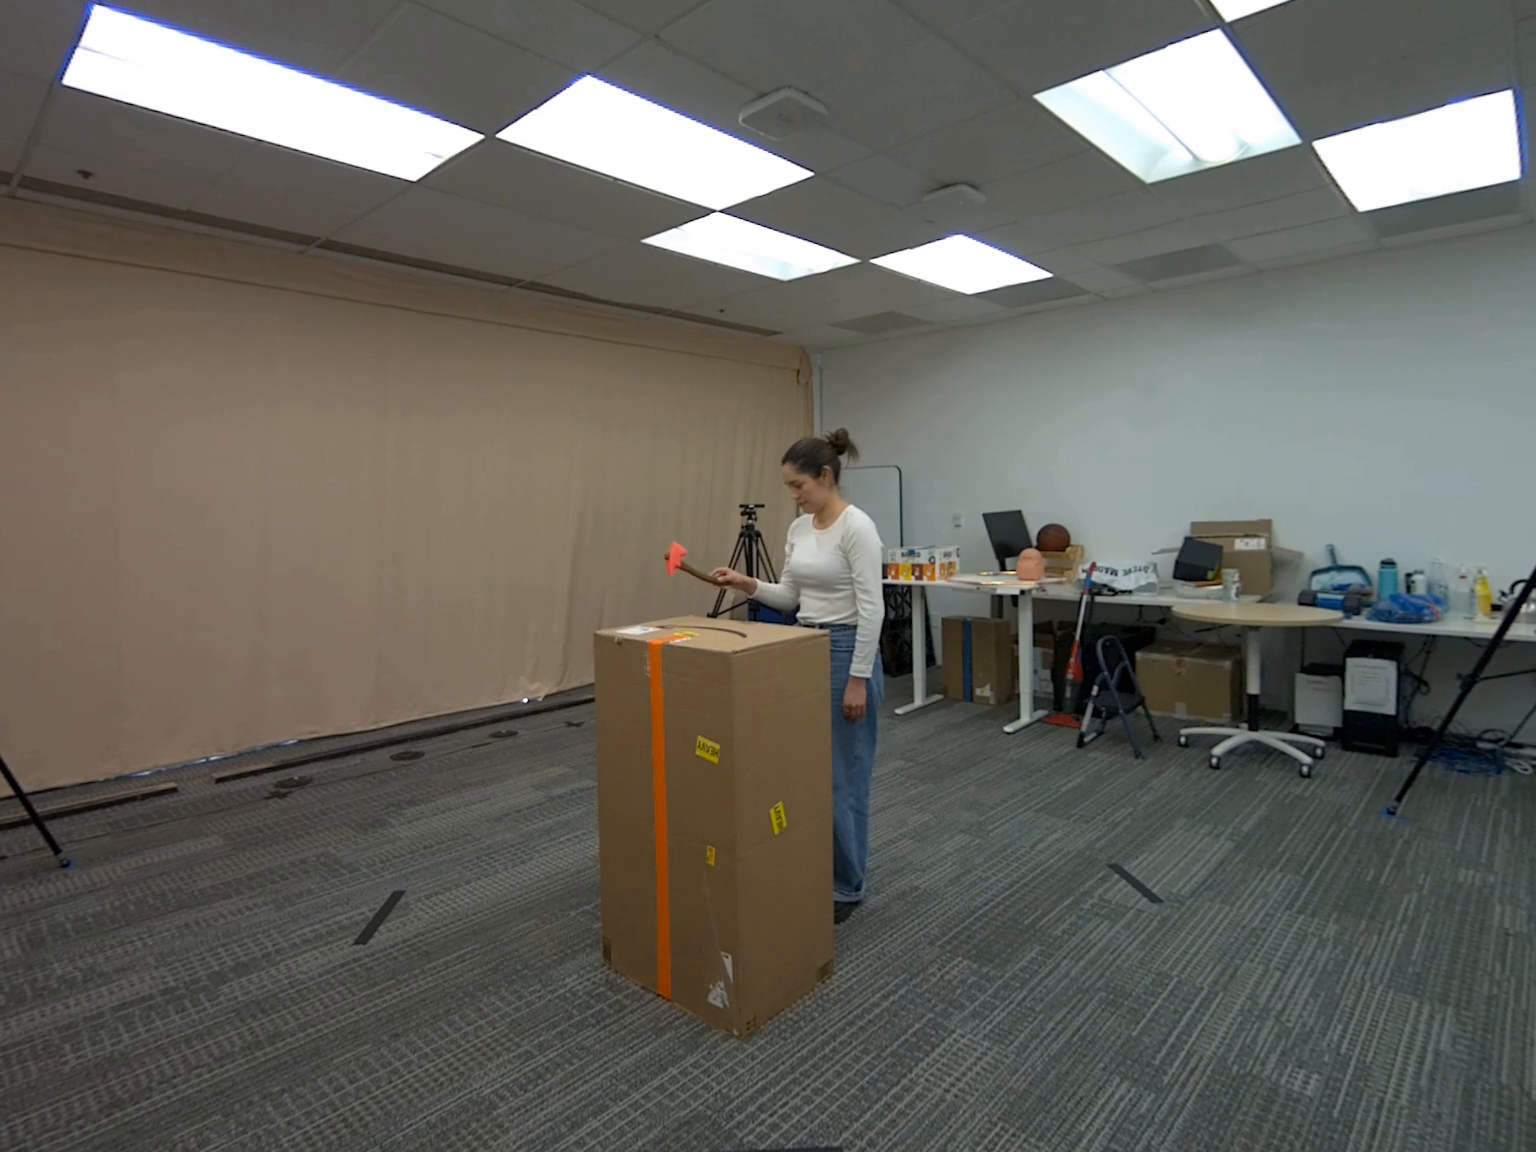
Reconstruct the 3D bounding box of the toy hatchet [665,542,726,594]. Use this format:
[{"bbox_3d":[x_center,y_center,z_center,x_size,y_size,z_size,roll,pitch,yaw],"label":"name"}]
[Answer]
[{"bbox_3d":[-0.235,-0.029,2.814,0.261,0.133,0.030,11,-33,-40],"label":"toy hatchet"}]
